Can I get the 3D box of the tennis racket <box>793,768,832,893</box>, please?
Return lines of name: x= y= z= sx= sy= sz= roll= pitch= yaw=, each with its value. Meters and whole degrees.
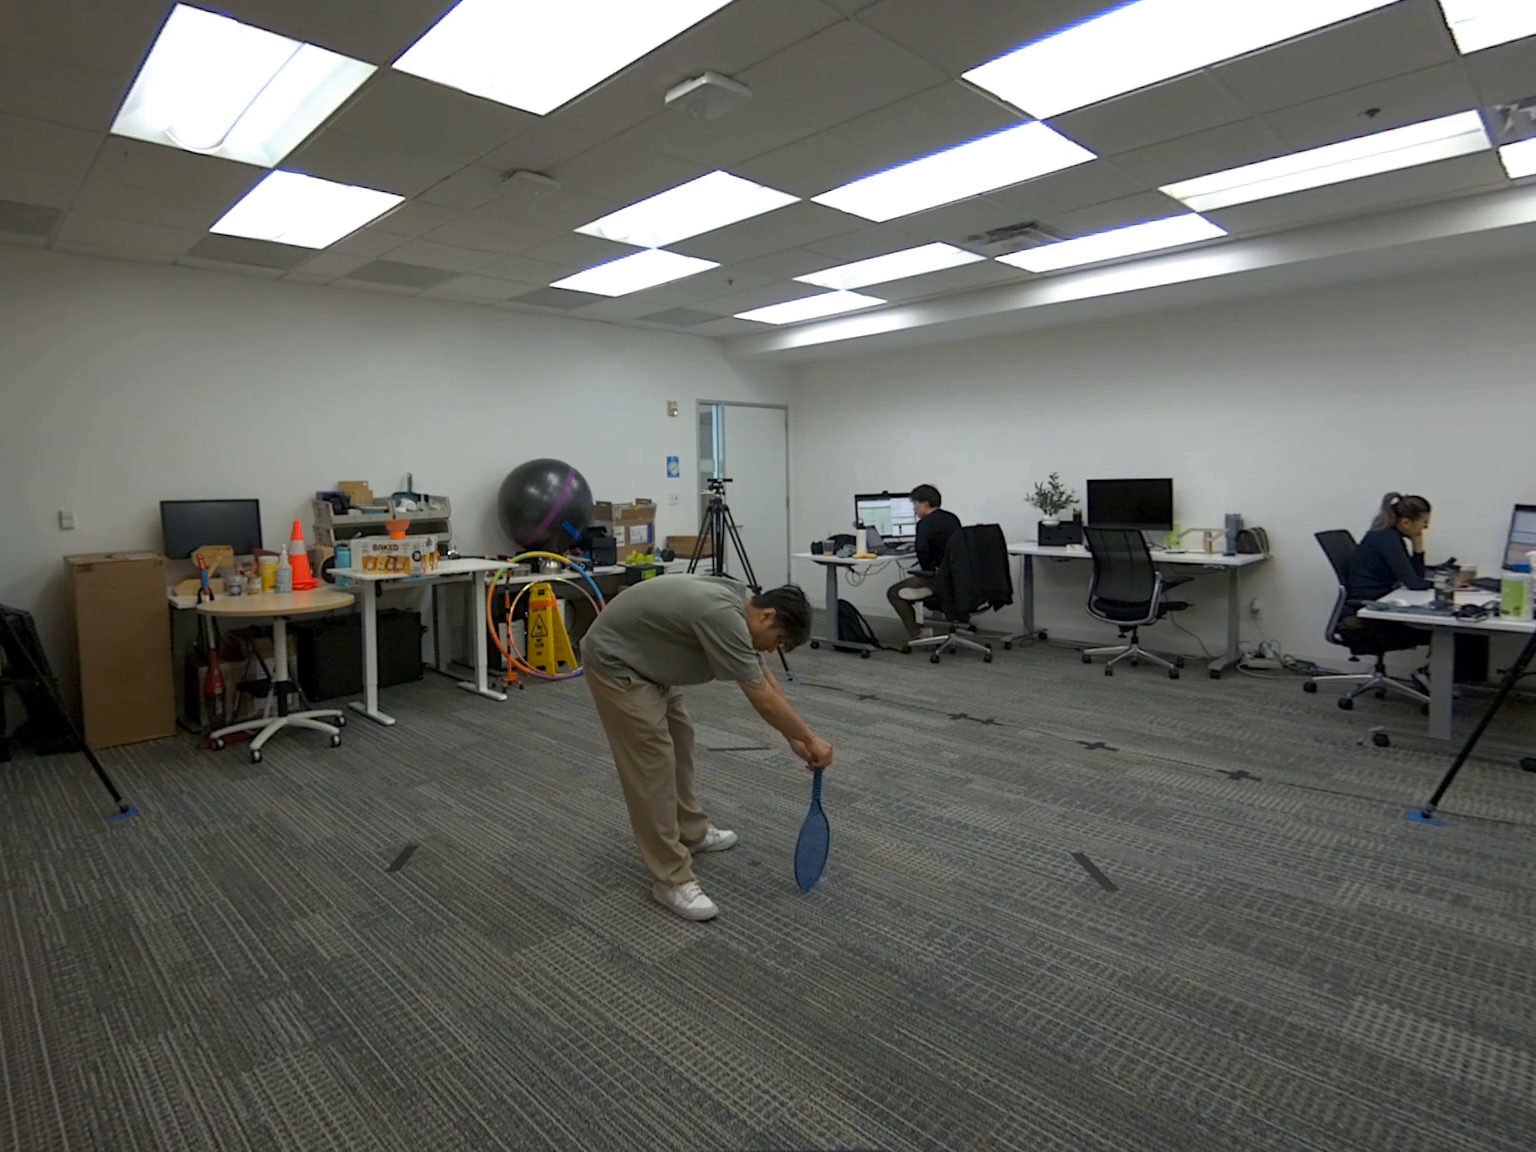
tennis racket: x=0.157 y=0.847 z=2.897 sx=0.033 sy=0.432 sz=0.208 roll=5 pitch=4 yaw=38
